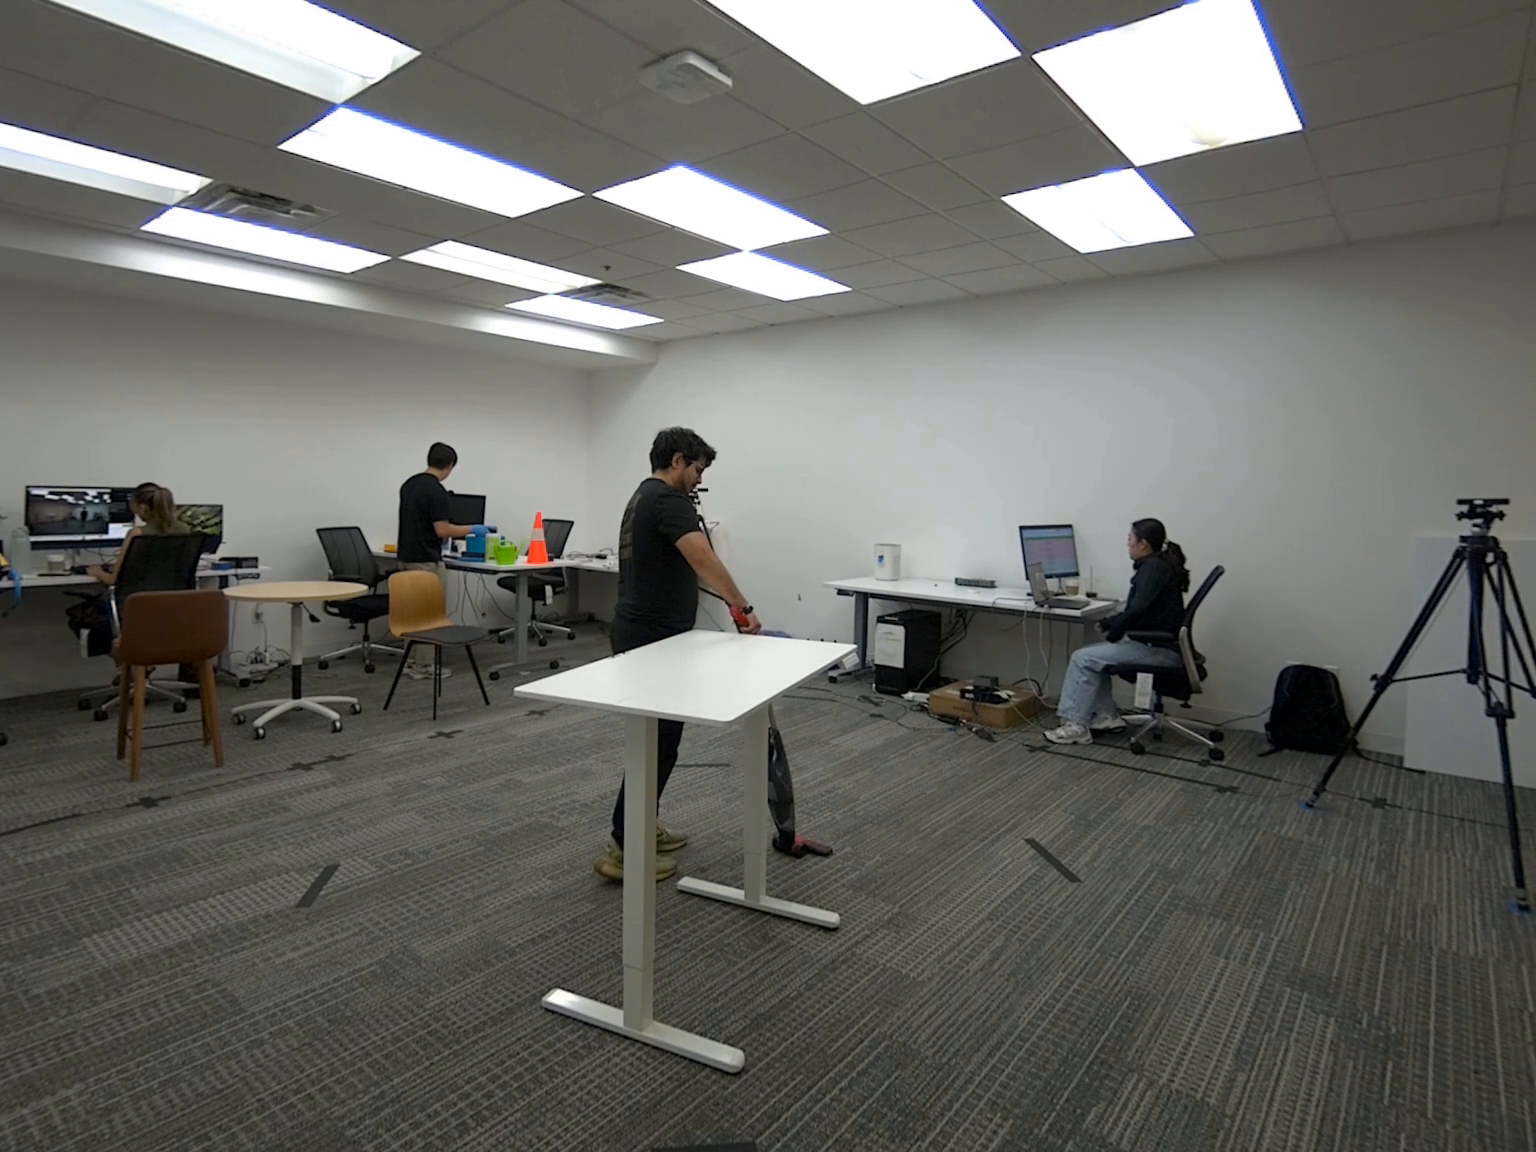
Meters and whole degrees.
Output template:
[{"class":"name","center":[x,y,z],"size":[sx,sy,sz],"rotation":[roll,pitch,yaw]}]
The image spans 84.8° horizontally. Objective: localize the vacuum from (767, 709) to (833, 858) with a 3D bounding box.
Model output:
[{"class":"vacuum","center":[0.000,0.589,3.148],"size":[0.261,1.028,0.142],"rotation":[5,25,44]}]
